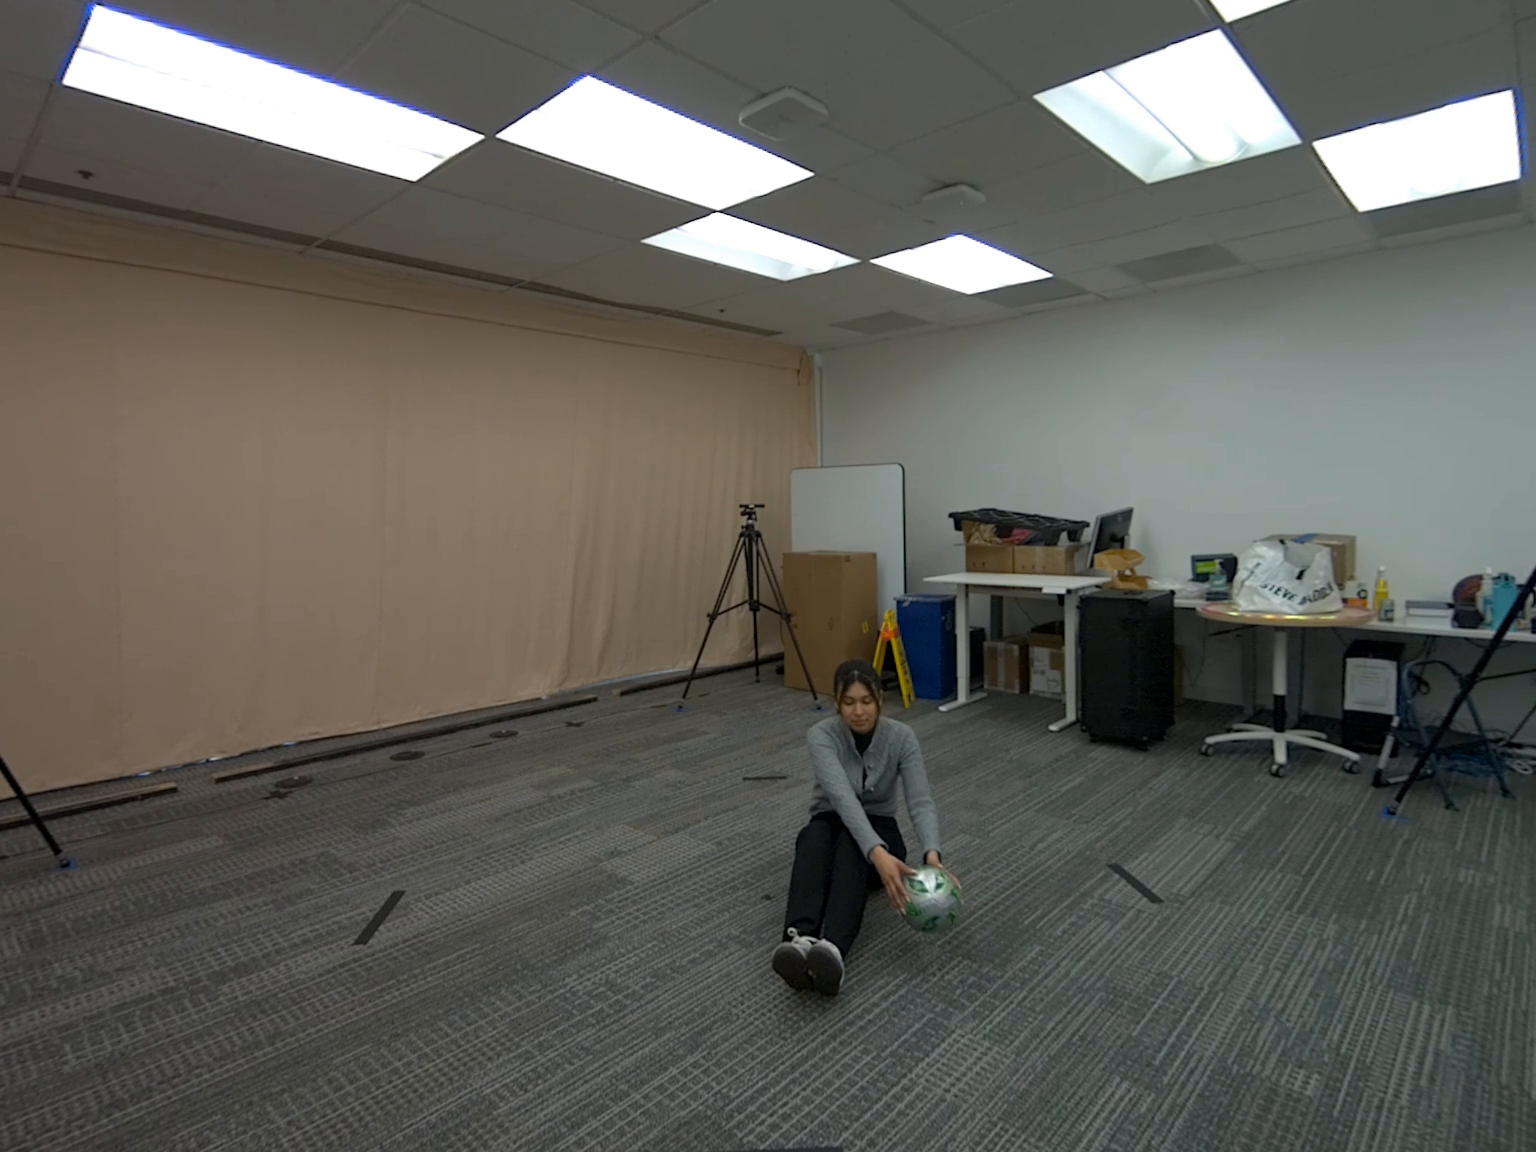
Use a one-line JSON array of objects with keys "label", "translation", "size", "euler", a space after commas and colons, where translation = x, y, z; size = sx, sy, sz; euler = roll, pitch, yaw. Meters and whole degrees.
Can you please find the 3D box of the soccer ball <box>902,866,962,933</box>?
[{"label": "soccer ball", "translation": [0.468, 0.957, 2.516], "size": [0.187, 0.187, 0.188], "euler": [-1, 4, -2]}]
